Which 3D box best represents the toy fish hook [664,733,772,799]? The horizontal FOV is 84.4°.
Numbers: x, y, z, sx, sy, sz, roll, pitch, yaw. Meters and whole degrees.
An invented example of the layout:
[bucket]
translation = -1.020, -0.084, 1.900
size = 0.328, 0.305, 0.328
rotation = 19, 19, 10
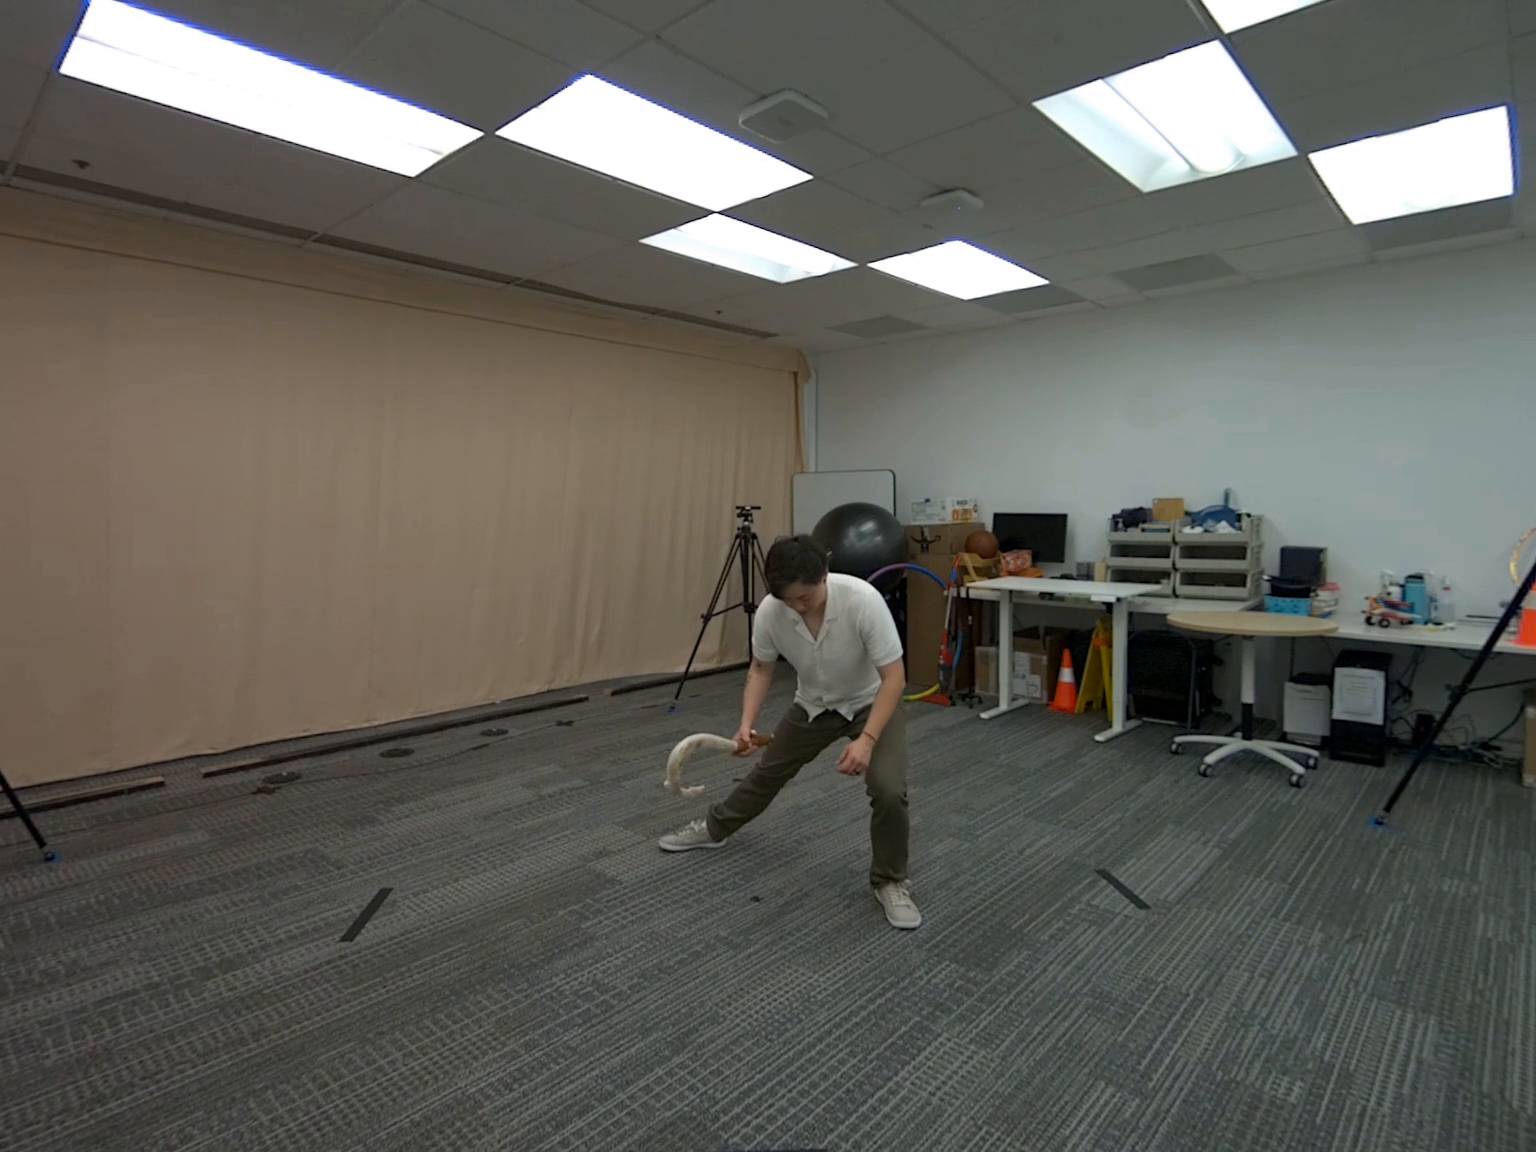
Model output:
[toy fish hook]
translation = -0.155, 0.634, 2.842
size = 0.490, 0.224, 0.050
rotation = 4, 14, -46
